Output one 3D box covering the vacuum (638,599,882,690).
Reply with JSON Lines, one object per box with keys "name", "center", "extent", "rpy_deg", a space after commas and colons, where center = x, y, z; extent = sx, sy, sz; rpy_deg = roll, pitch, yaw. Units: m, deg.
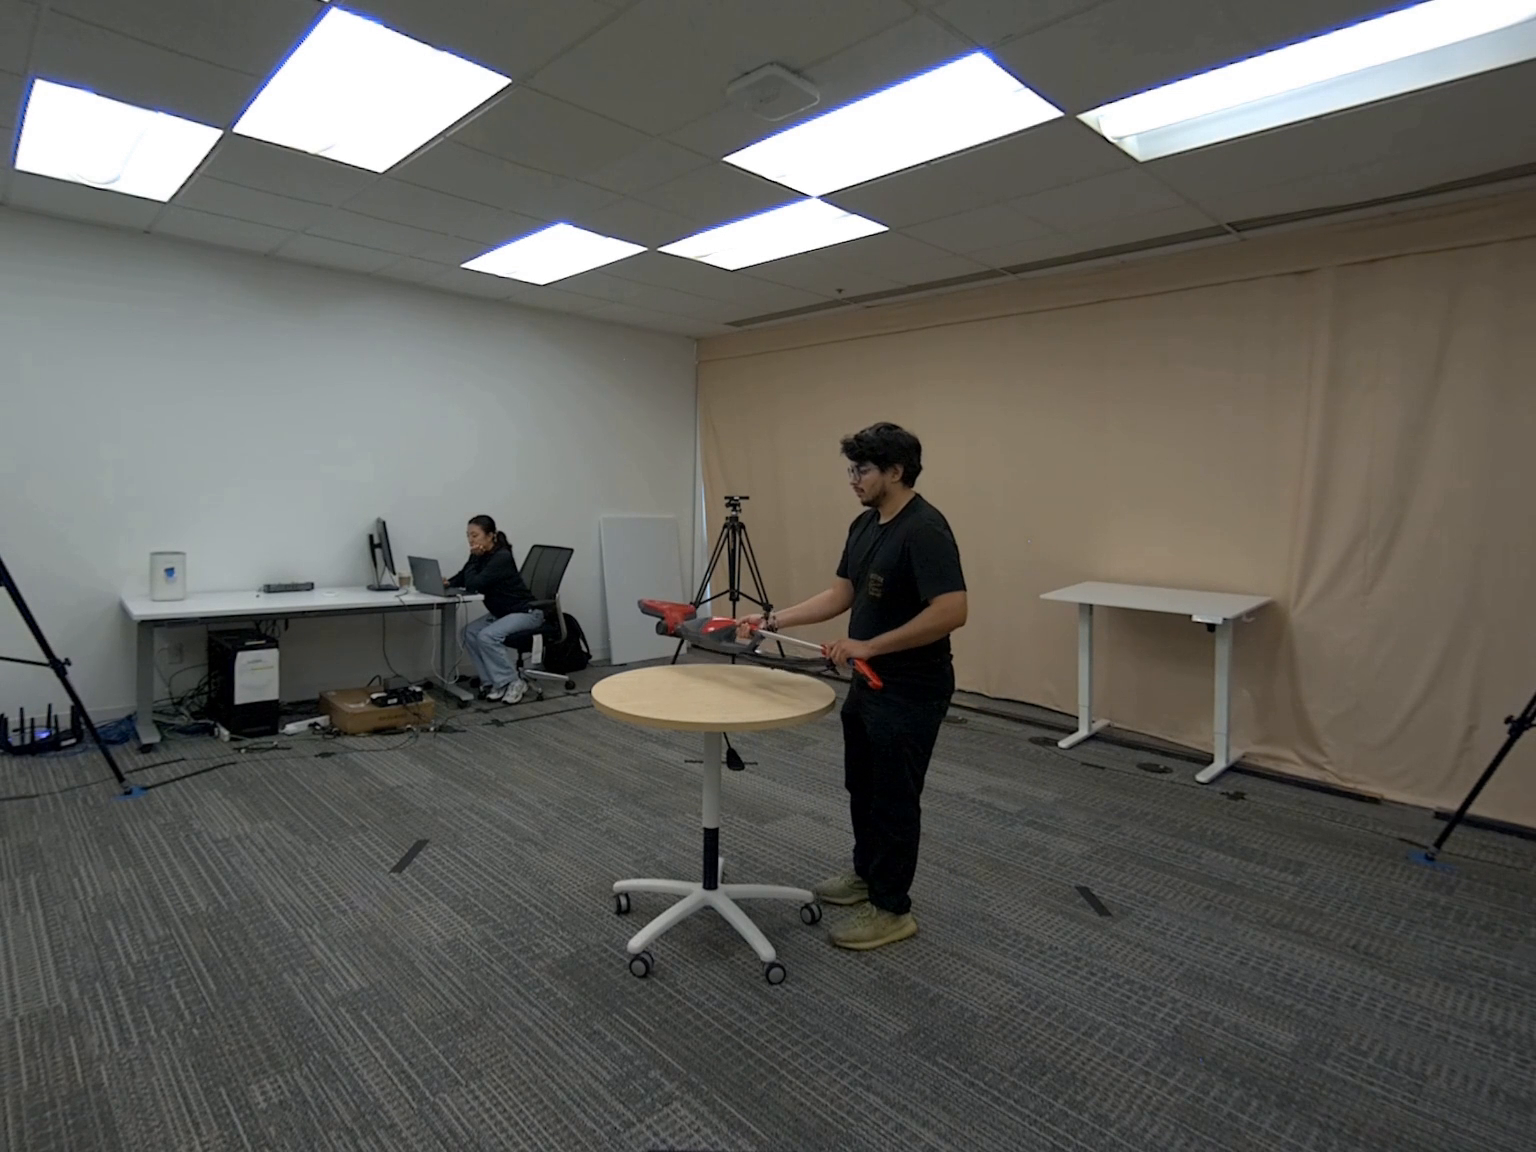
{"name": "vacuum", "center": [-0.049, 0.233, 2.732], "extent": [0.246, 0.144, 1.077], "rpy_deg": [9, 2, -38]}
